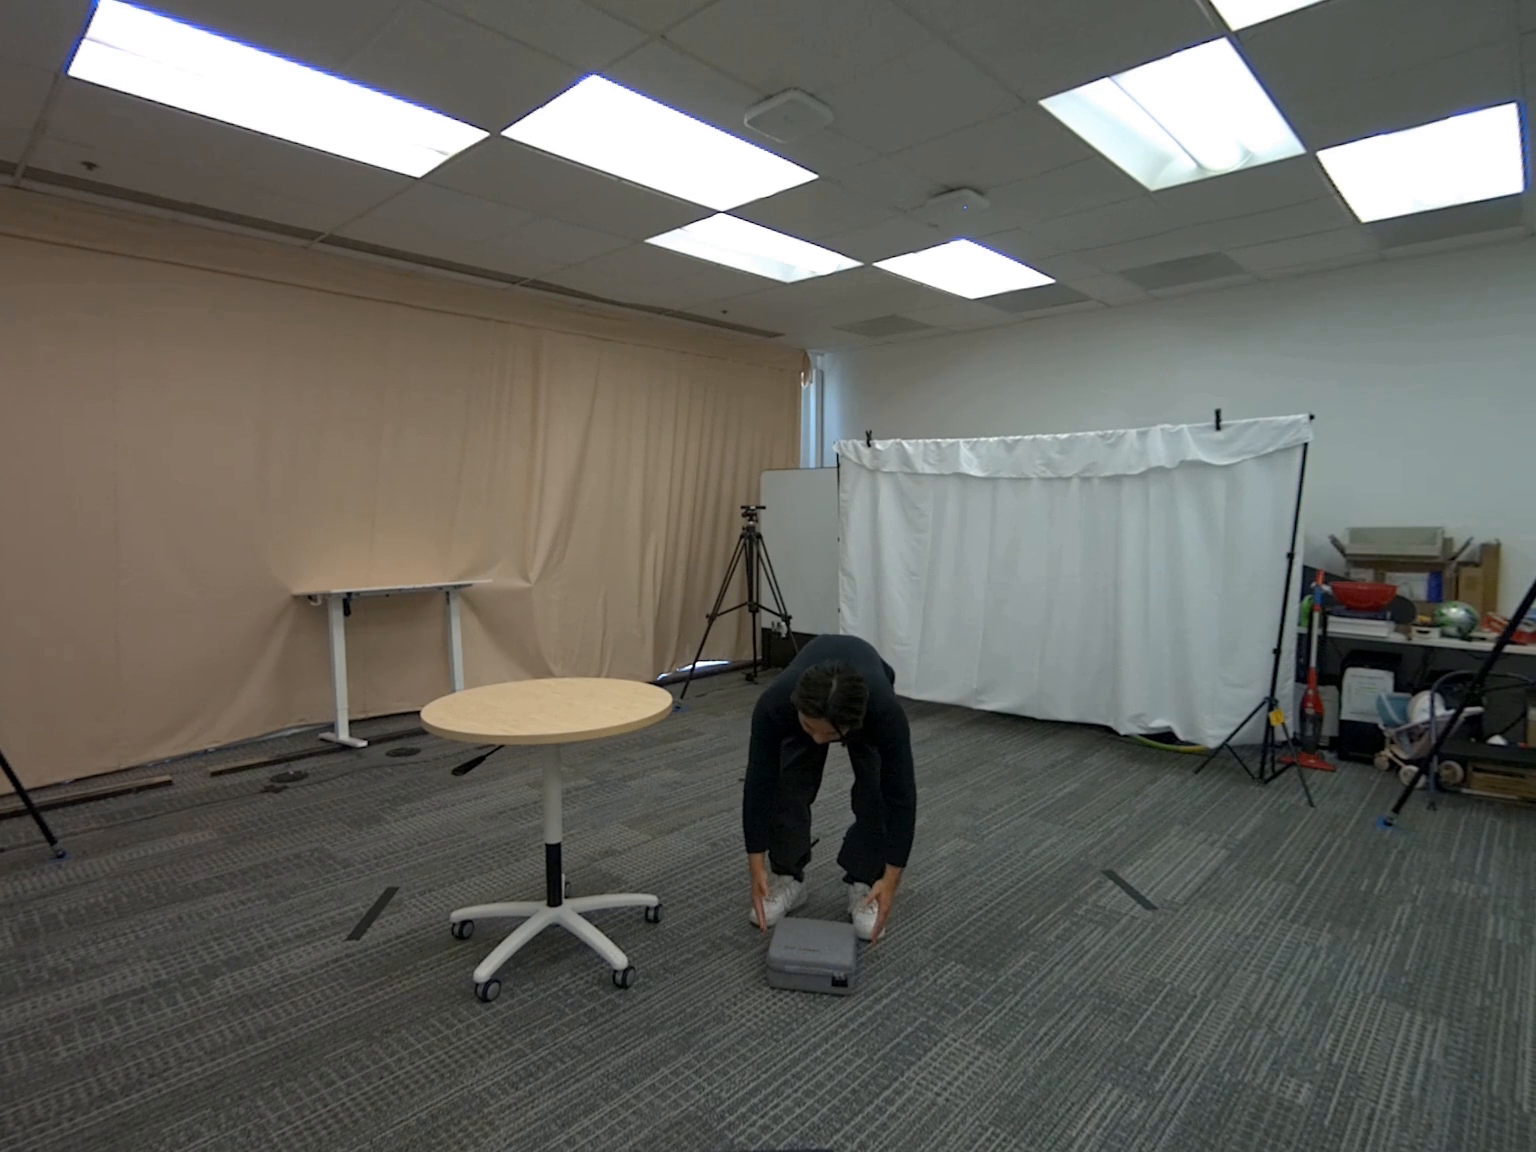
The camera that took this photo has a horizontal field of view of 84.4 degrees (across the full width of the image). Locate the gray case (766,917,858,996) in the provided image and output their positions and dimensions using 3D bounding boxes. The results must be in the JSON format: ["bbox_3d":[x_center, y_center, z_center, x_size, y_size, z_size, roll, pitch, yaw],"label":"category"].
[{"bbox_3d":[0.133,1.116,2.522,0.260,0.104,0.258,0,5,10],"label":"gray case"}]
